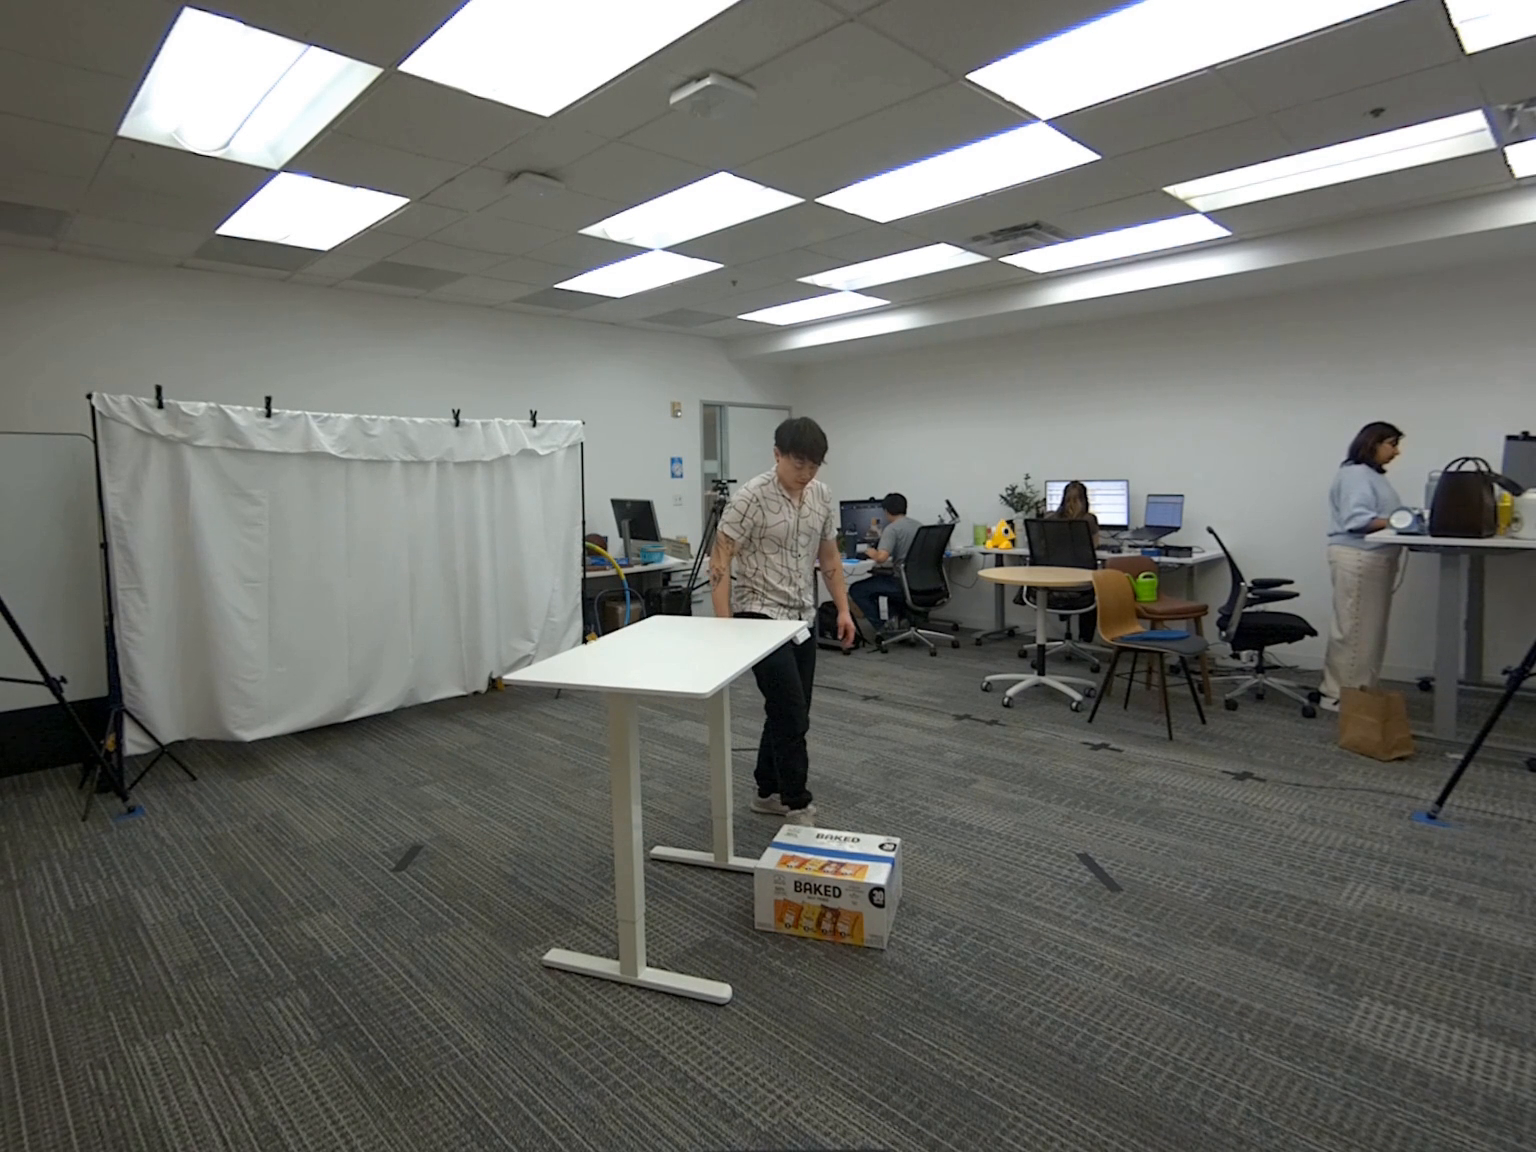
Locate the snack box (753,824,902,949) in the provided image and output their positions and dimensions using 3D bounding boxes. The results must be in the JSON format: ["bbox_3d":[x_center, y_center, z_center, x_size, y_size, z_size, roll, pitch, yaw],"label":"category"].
[{"bbox_3d":[0.206,0.985,2.734,0.412,0.205,0.336,0,6,18],"label":"snack box"}]
